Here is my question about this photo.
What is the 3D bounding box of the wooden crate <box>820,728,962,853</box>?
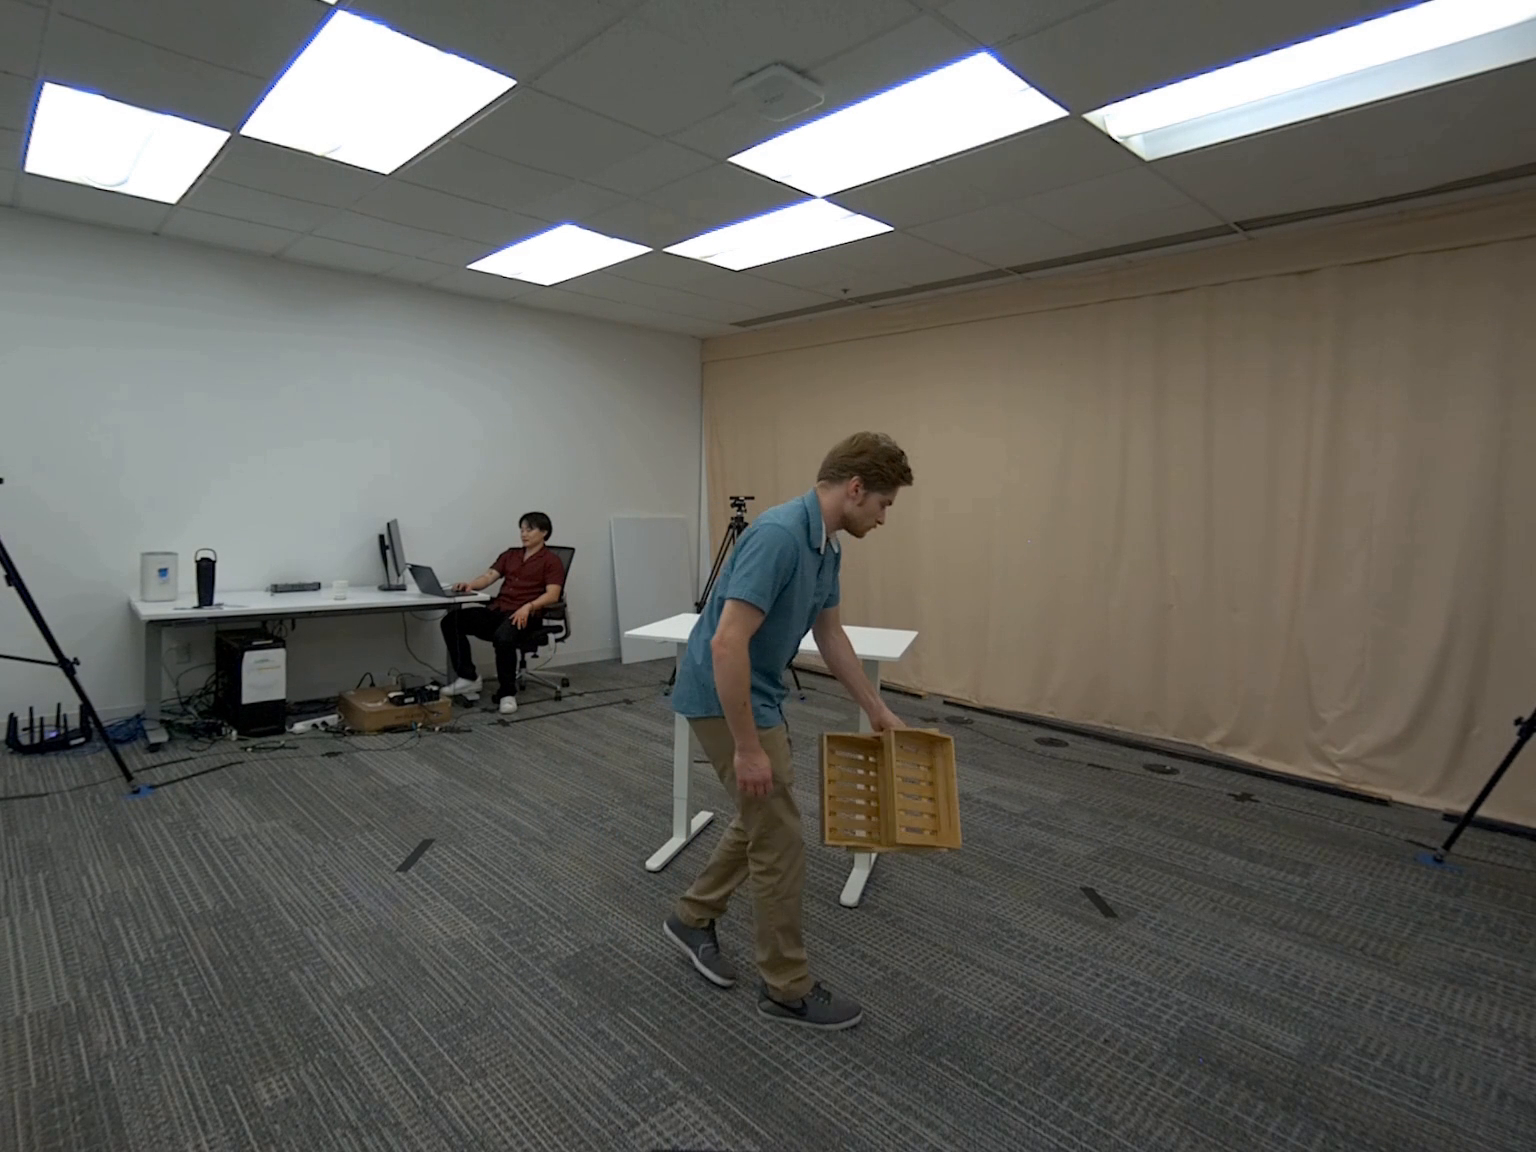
[{"bbox_3d":[0.320,0.593,2.322,0.294,0.329,0.276,19,-28,-34],"label":"wooden crate"}]
